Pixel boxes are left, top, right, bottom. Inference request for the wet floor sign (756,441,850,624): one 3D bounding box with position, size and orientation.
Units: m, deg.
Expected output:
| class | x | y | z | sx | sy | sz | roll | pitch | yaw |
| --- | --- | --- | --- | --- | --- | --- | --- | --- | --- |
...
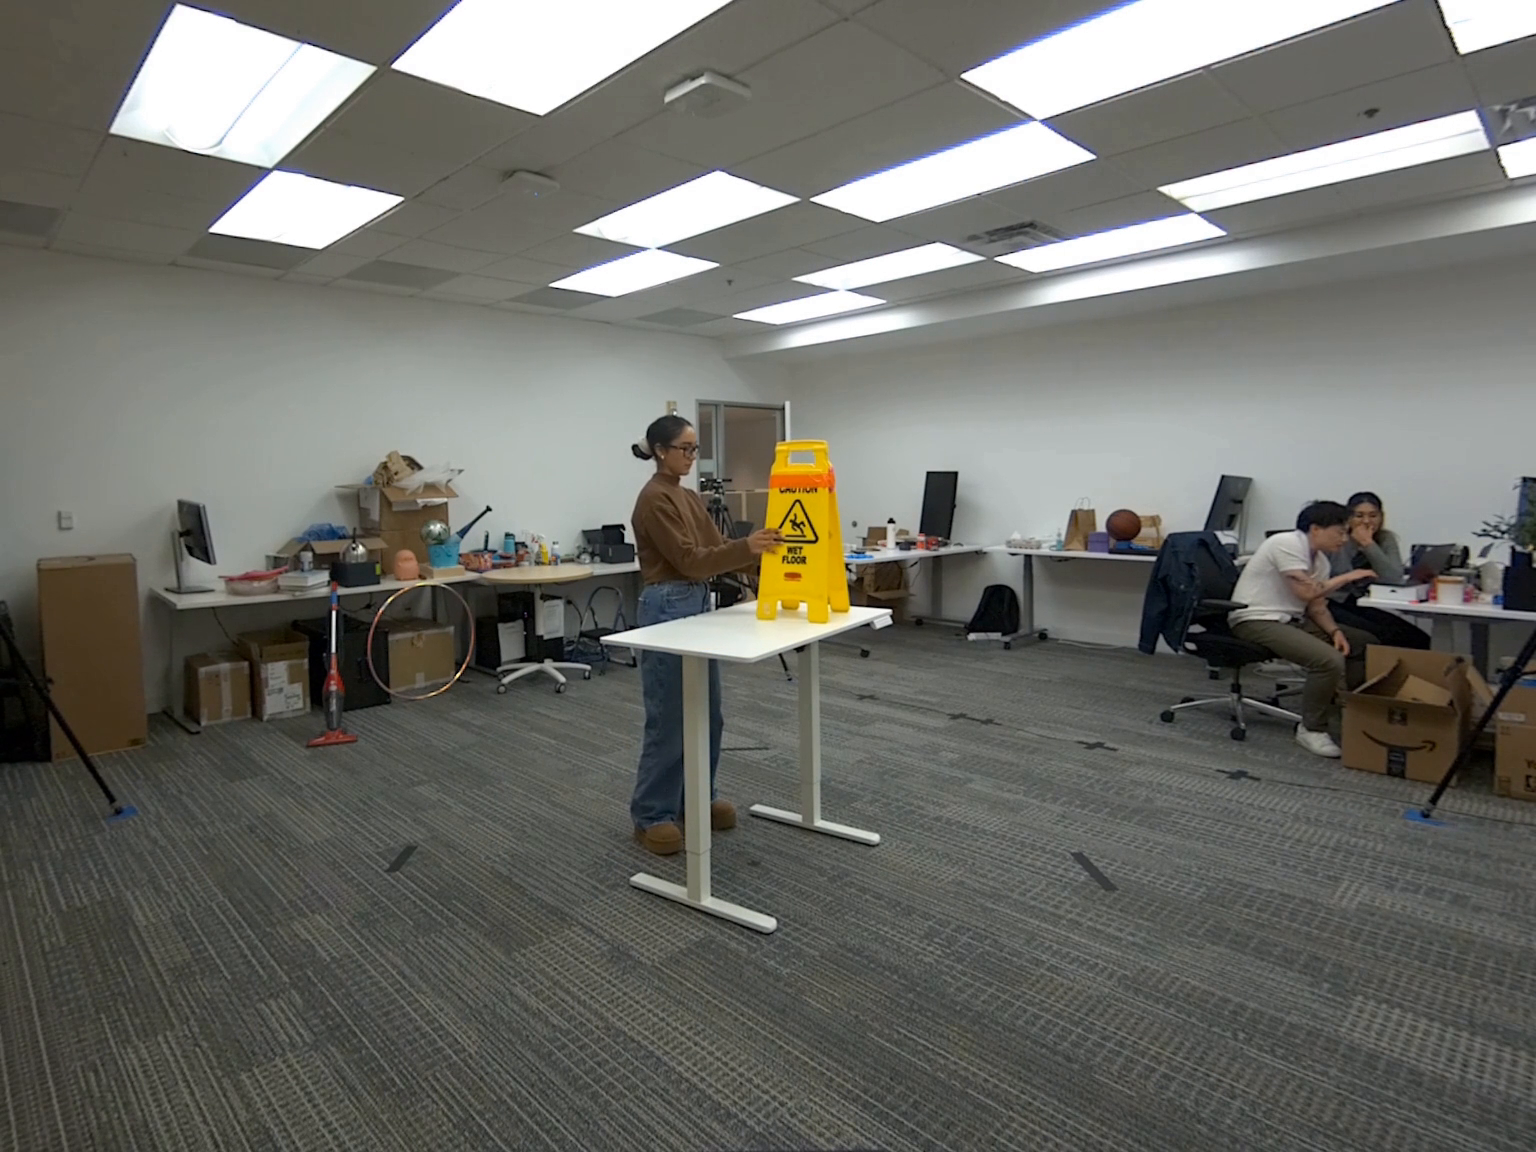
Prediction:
| class | x | y | z | sx | sy | sz | roll | pitch | yaw |
| --- | --- | --- | --- | --- | --- | --- | --- | --- | --- |
| wet floor sign | 0.133 | -0.174 | 3.177 | 0.289 | 0.643 | 0.284 | 2 | 5 | 24 |
